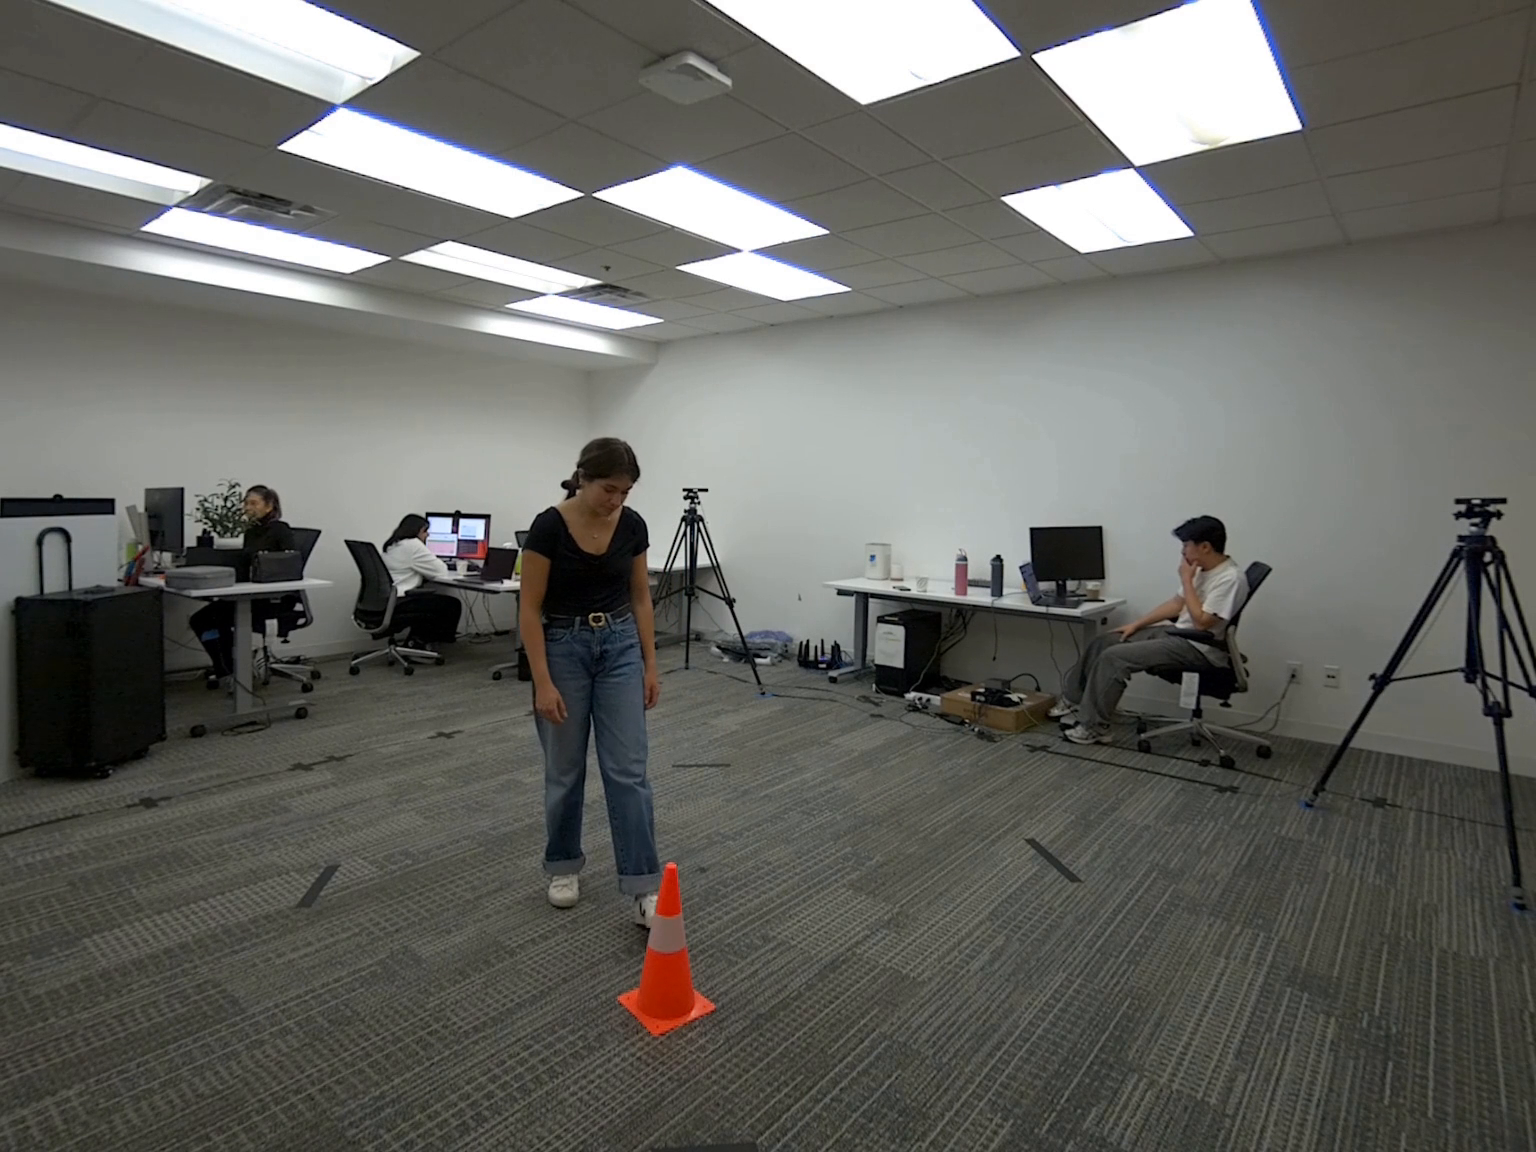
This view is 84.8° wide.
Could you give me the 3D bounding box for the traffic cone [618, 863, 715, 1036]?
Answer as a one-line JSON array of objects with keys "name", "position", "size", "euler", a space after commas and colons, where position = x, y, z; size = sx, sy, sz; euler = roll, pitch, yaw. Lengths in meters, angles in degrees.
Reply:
[{"name": "traffic cone", "position": [-0.273, 0.962, 2.285], "size": [0.199, 0.383, 0.210], "euler": [-2, 4, -35]}]
